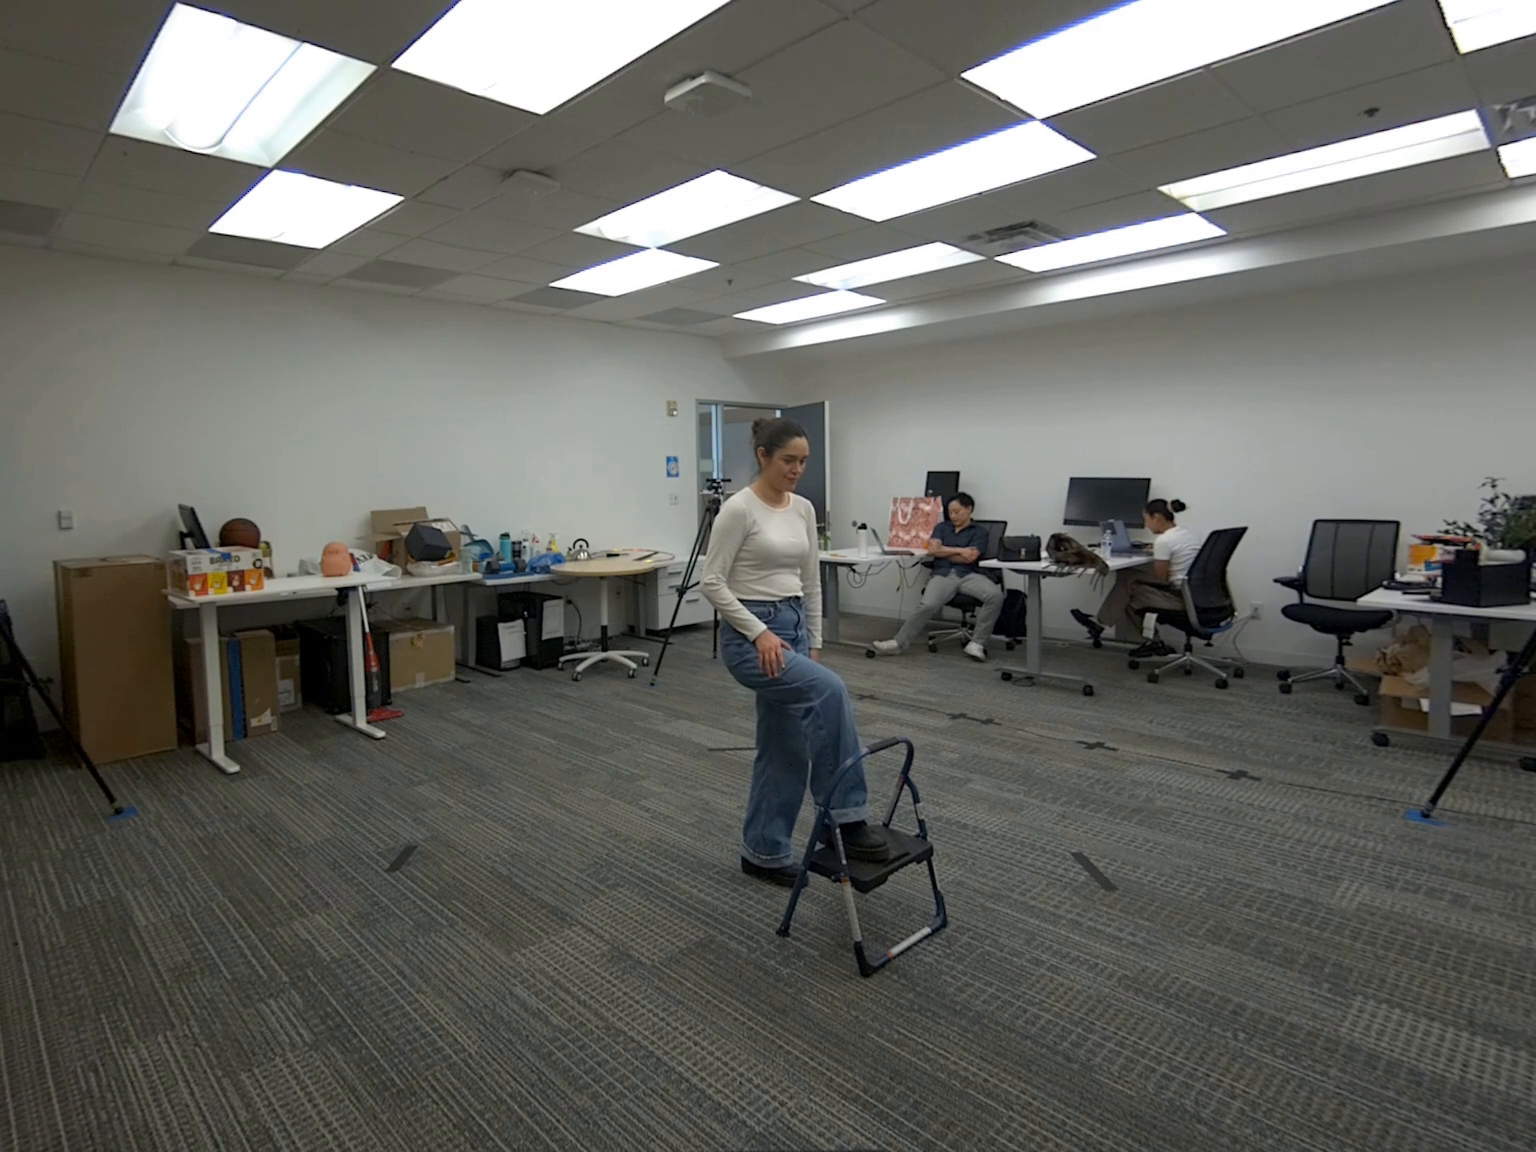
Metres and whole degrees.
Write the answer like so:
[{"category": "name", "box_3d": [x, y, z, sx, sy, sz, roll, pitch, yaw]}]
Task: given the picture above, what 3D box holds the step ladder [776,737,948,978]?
[{"category": "step ladder", "box_3d": [0.293, 0.792, 2.622, 0.360, 0.603, 0.419, 3, 7, 44]}]
